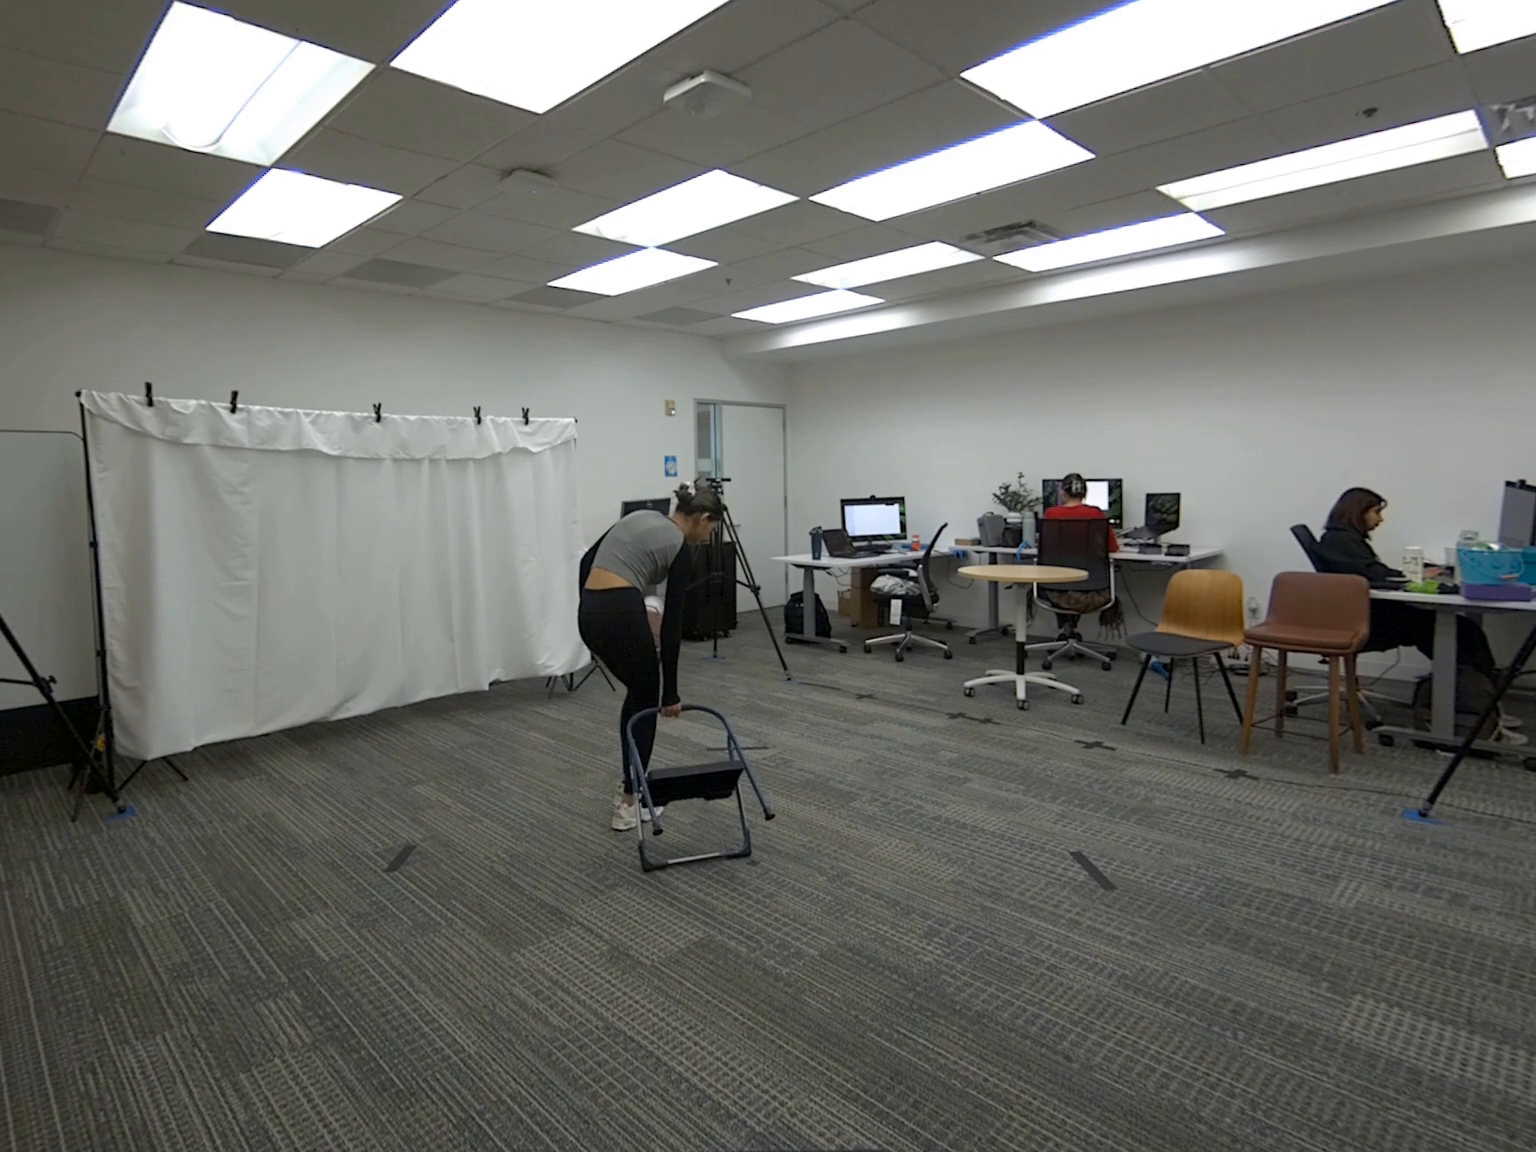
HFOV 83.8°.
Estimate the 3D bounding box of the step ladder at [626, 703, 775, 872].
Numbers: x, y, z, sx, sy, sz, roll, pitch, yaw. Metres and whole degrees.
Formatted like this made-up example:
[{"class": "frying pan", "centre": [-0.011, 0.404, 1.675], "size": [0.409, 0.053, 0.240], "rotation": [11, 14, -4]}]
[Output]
[{"class": "step ladder", "centre": [-0.289, 0.709, 3.184], "size": [0.423, 0.343, 0.627], "rotation": [-2, 48, -19]}]
